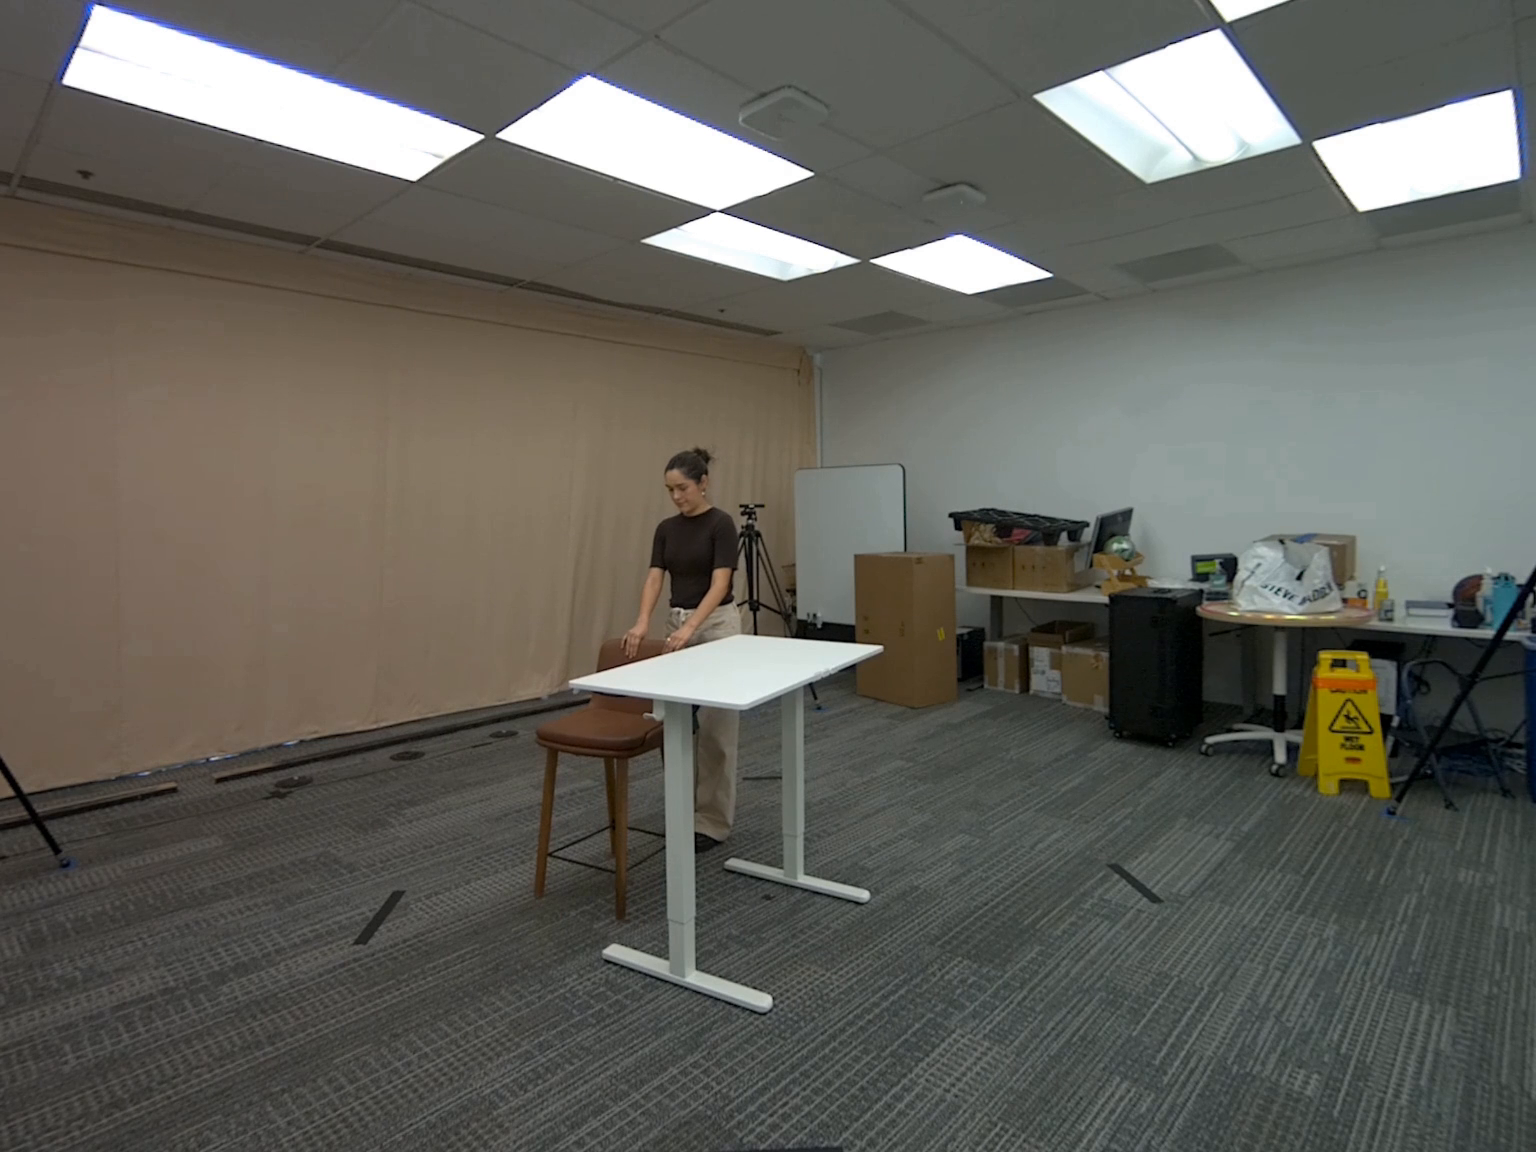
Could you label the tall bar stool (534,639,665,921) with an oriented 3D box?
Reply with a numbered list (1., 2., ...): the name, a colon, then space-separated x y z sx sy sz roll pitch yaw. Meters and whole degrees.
1. tall bar stool: -0.567 0.708 3.102 0.470 0.889 0.454 1 1 31
